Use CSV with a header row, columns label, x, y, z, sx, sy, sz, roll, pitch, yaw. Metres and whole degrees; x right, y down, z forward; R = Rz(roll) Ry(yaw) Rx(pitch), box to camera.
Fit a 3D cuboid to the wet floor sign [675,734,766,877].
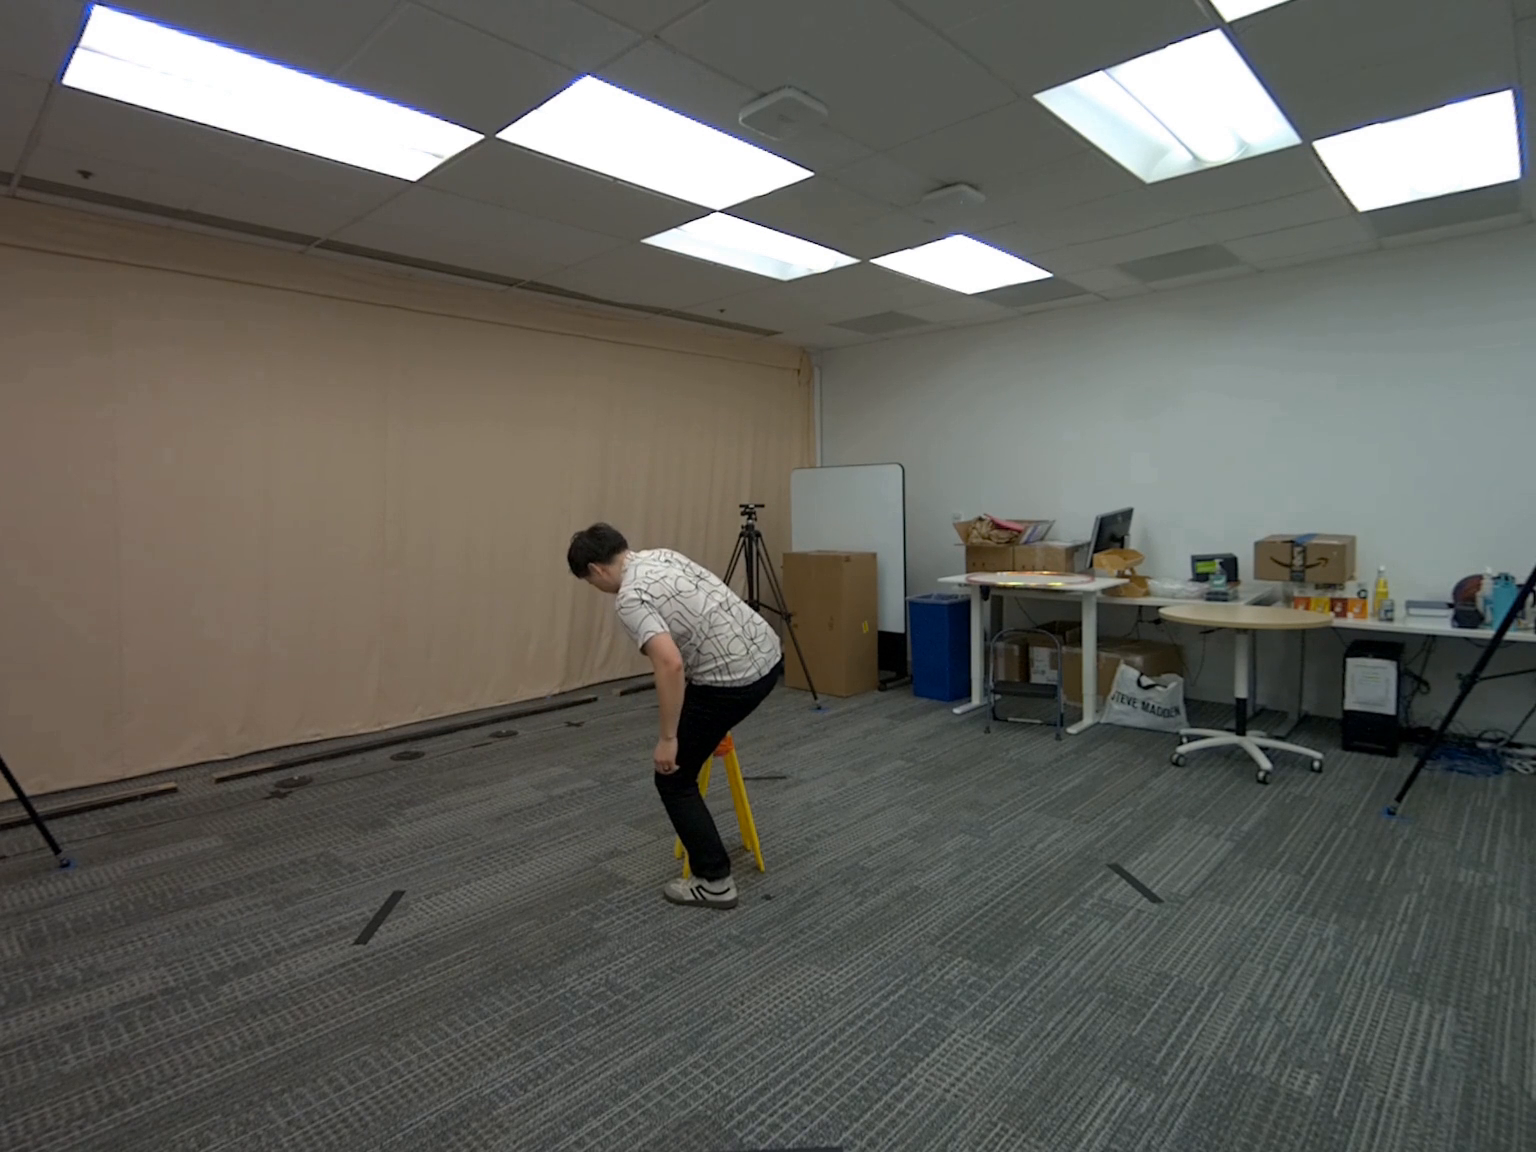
label,x,y,z,sx,sy,sz,roll,pitch,yaw
wet floor sign,-0.197,0.797,3.275,0.286,0.646,0.286,-2,1,-14
